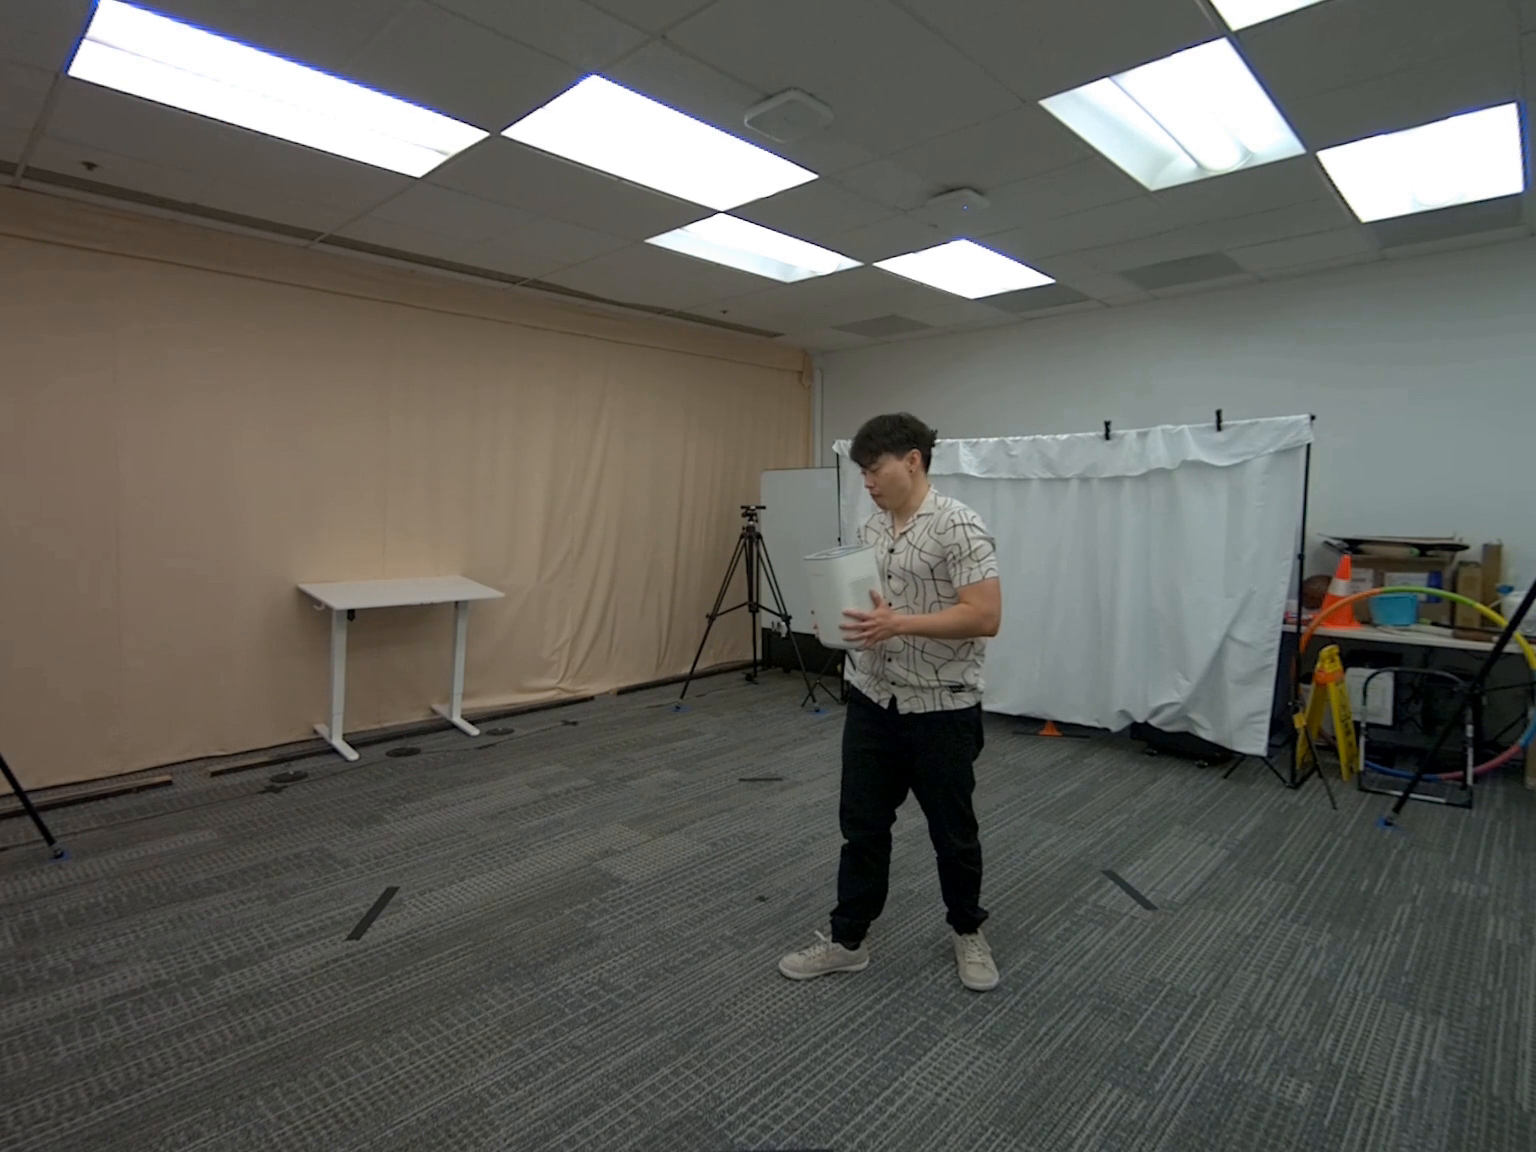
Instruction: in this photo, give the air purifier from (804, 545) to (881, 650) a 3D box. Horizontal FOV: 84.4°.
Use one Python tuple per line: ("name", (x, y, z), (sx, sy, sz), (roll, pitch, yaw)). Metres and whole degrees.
("air purifier", (0.230, 0.055, 2.343), (0.167, 0.264, 0.176), (-15, 6, -35))
